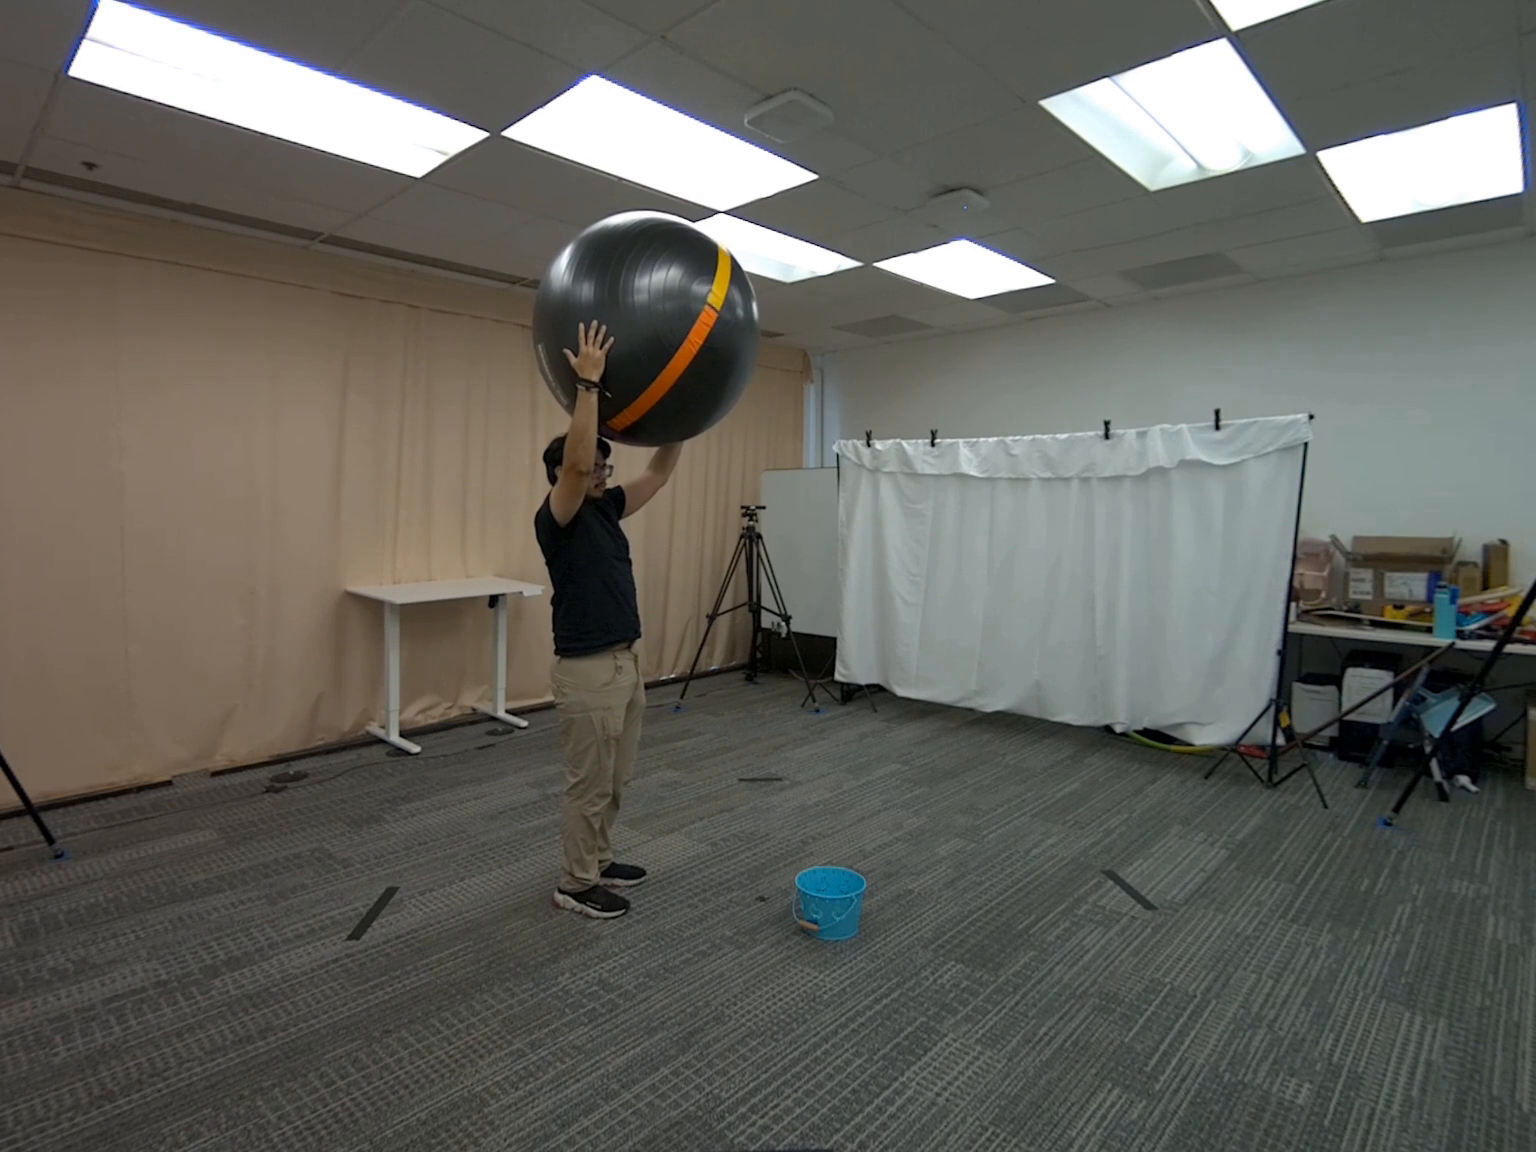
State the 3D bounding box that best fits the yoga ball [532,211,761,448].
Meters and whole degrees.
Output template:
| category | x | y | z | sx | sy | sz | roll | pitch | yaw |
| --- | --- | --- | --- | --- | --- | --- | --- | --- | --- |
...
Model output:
| category | x | y | z | sx | sy | sz | roll | pitch | yaw |
| --- | --- | --- | --- | --- | --- | --- | --- | --- | --- |
| yoga ball | -0.396 | -0.809 | 2.823 | 0.757 | 0.756 | 0.761 | 0 | 4 | -2 |
